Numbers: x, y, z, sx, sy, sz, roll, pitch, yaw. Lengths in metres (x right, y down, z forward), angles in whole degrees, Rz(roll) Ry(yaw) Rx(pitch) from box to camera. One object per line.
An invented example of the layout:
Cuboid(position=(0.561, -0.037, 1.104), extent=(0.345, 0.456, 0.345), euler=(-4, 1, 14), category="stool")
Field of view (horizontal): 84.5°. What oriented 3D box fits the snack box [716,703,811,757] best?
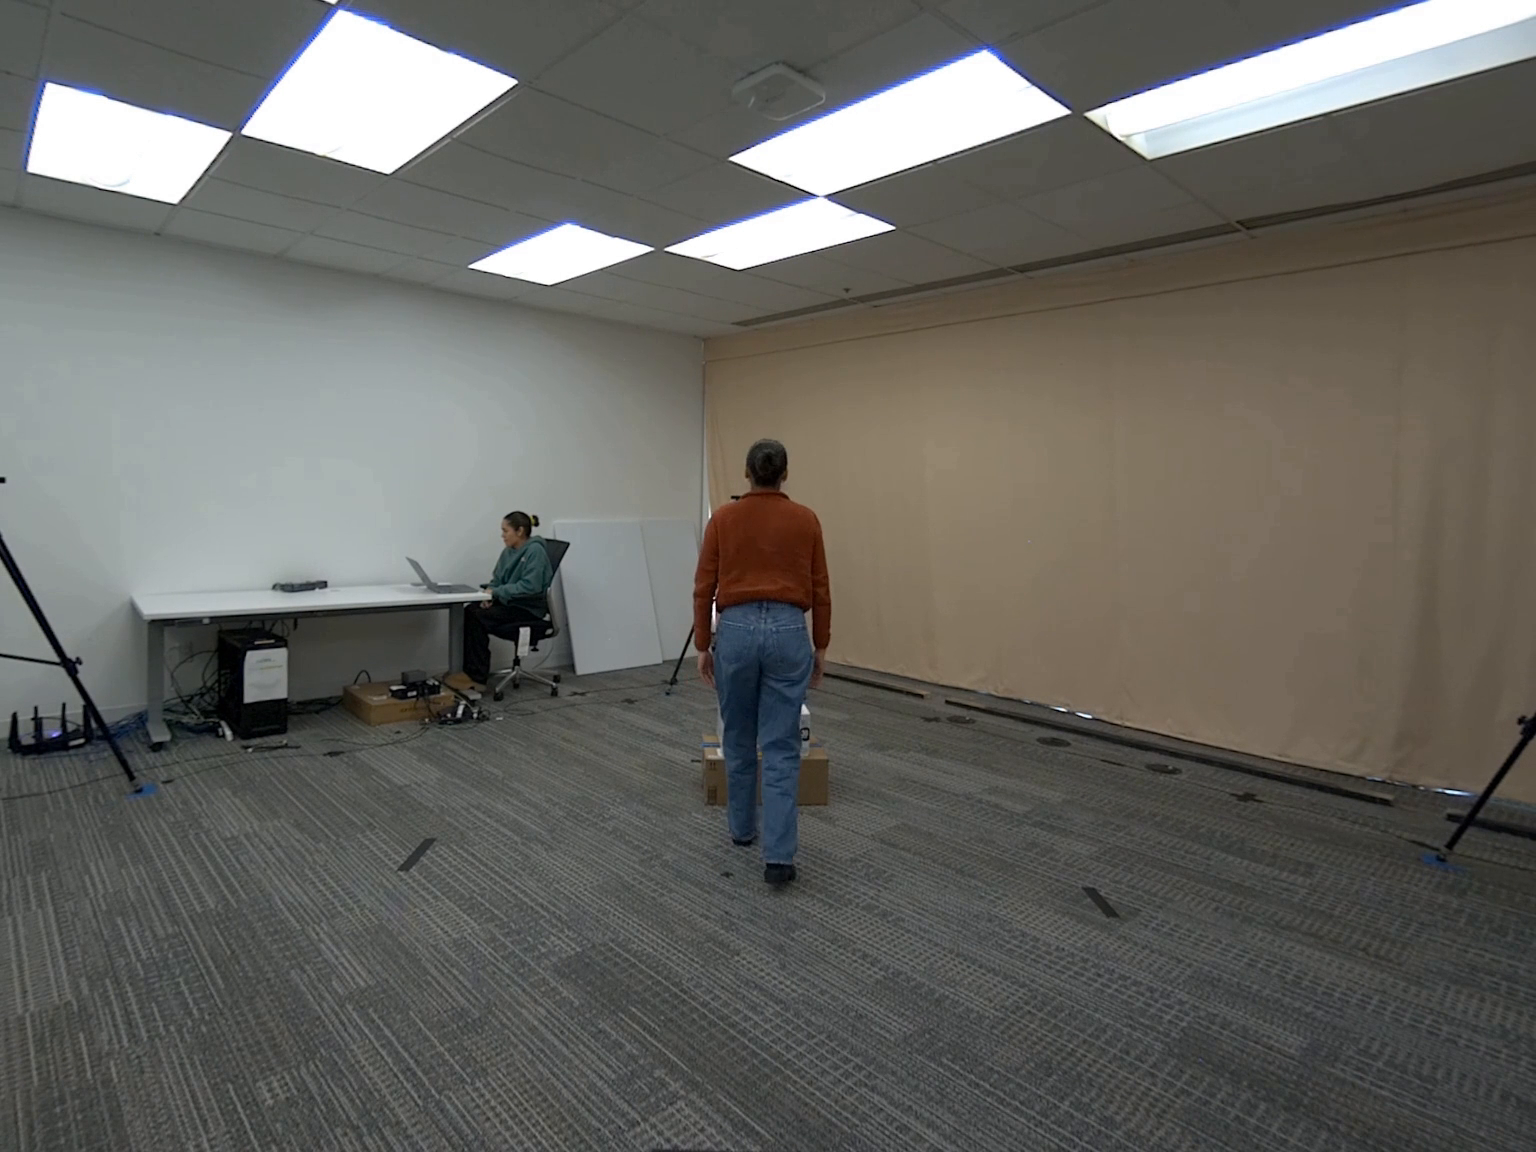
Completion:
Cuboid(position=(-0.032, 0.710, 4.009), extent=(0.403, 0.205, 0.343), euler=(2, 5, -6), category="snack box")
